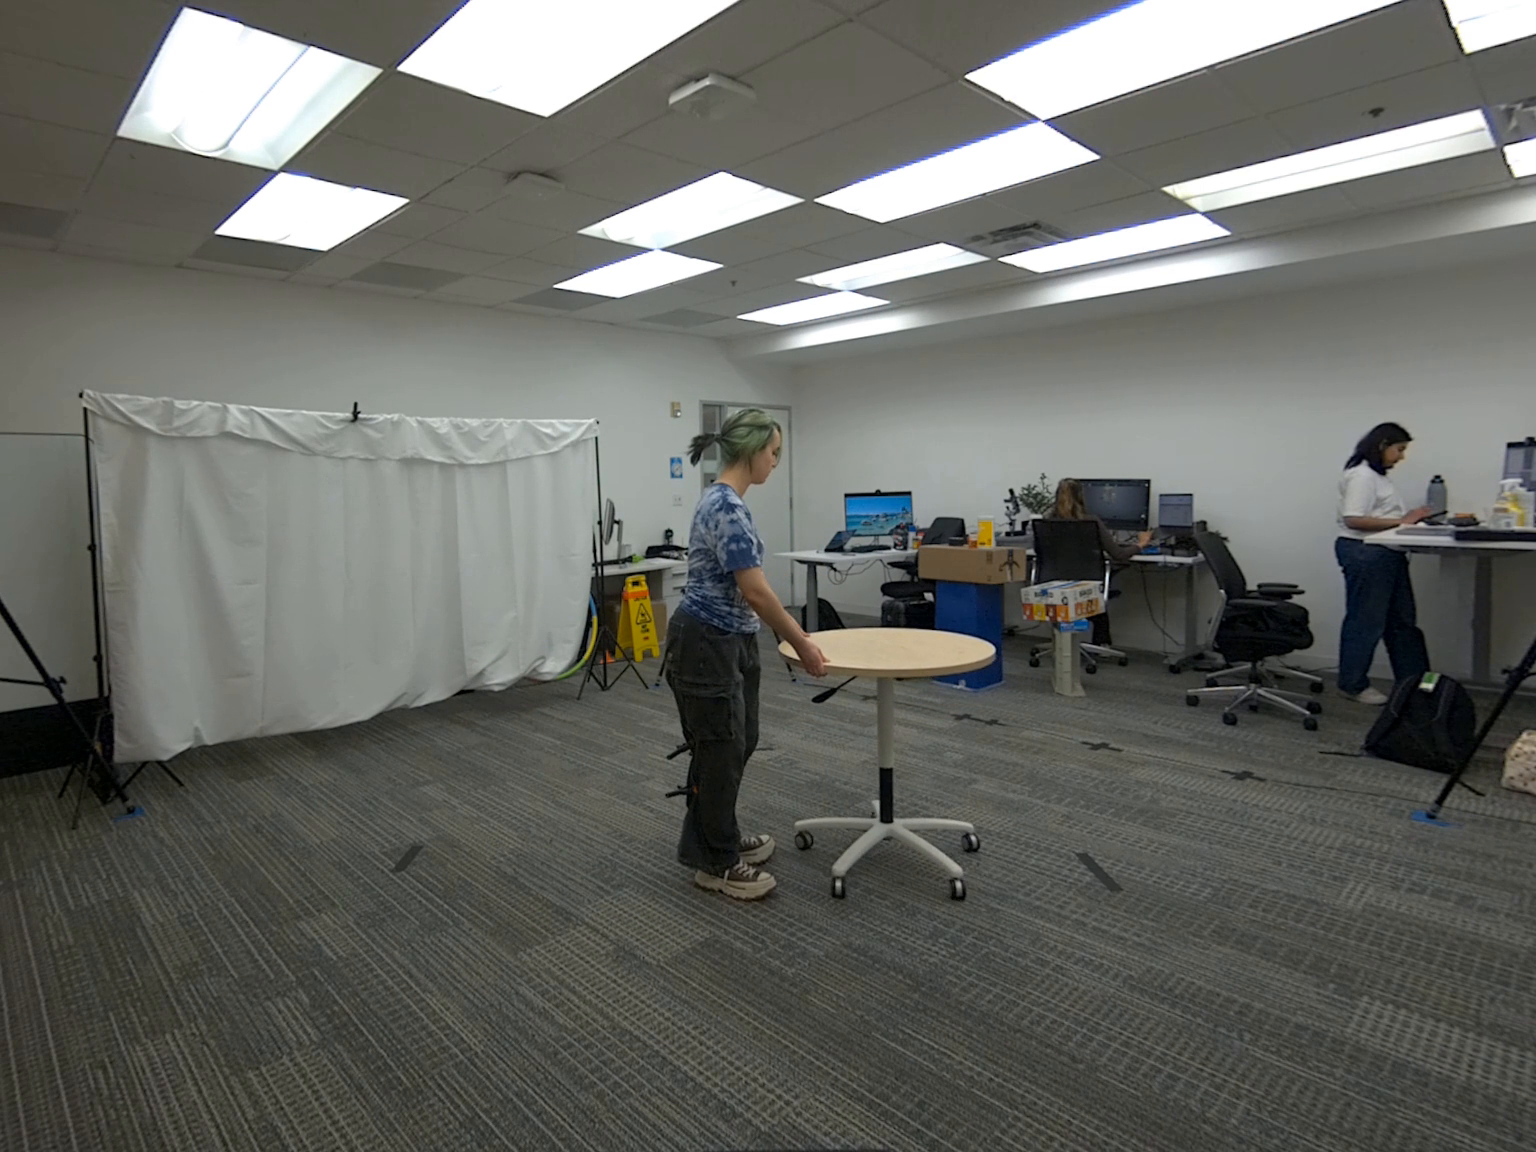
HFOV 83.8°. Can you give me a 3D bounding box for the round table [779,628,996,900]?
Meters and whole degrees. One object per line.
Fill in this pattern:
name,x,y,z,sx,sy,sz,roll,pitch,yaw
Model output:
round table,0.428,0.648,3.106,0.763,0.791,0.768,-1,5,-2
